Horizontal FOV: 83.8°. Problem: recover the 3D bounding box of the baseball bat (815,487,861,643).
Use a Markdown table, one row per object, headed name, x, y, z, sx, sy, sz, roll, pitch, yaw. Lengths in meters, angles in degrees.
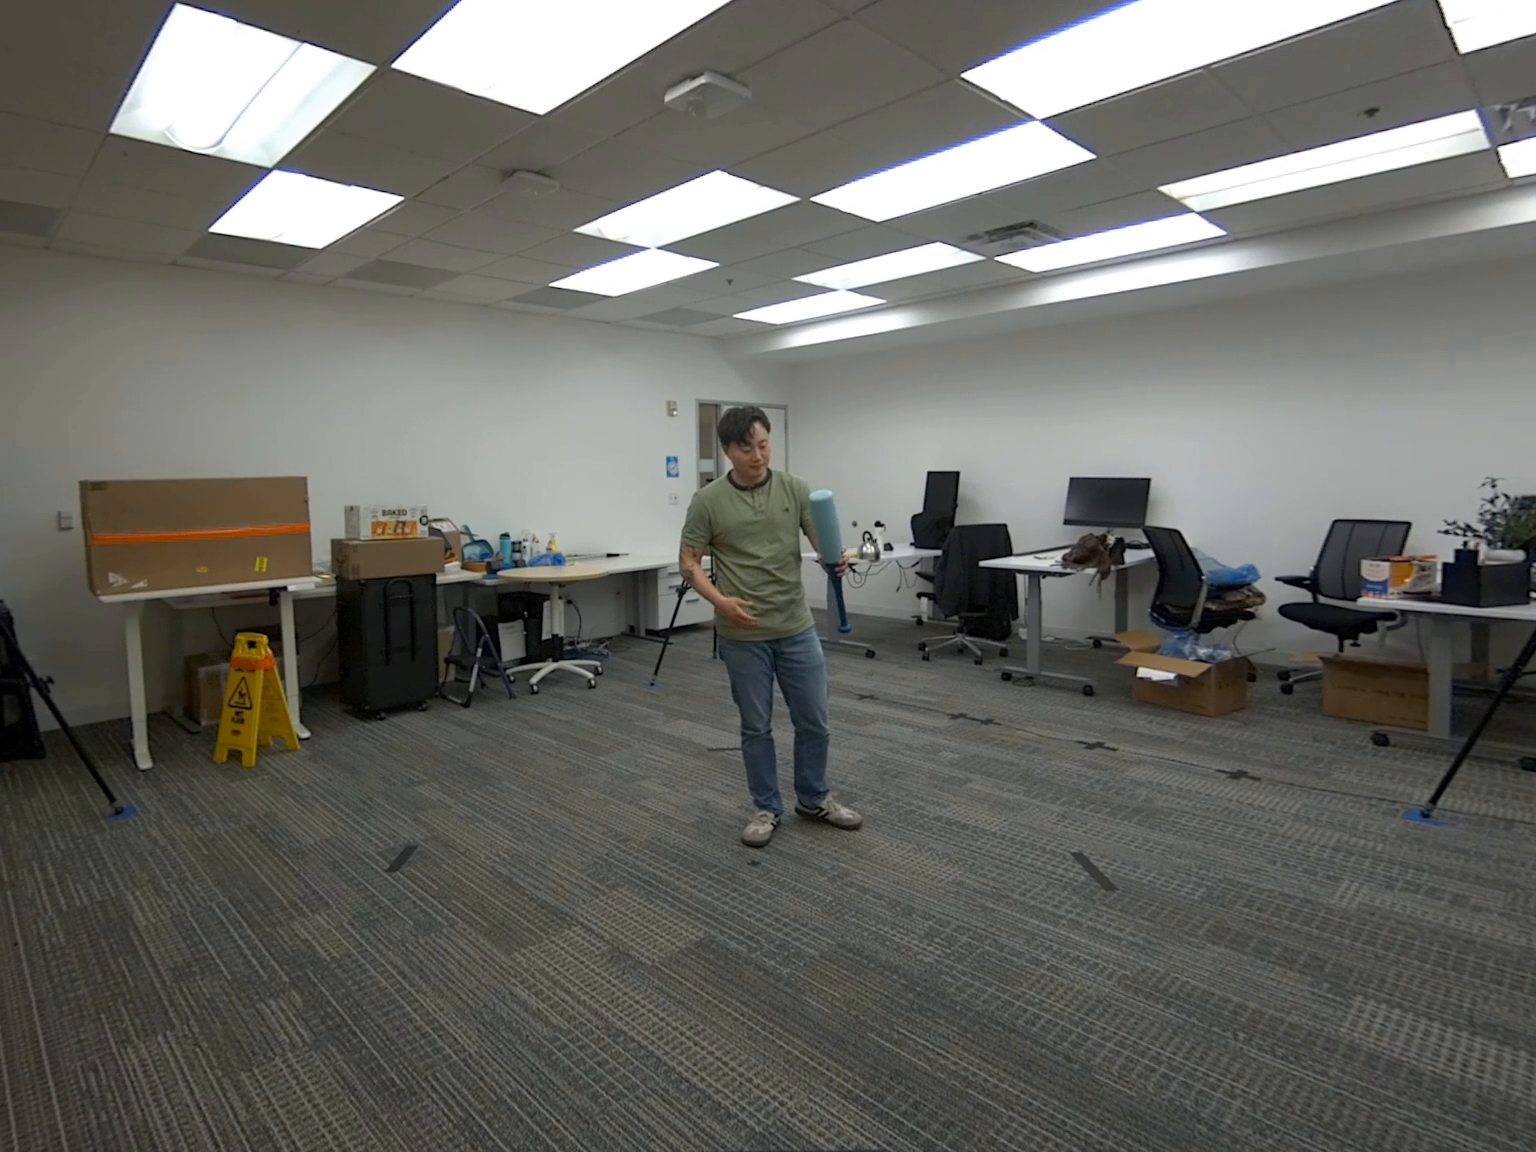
| name | x | y | z | sx | sy | sz | roll | pitch | yaw |
| --- | --- | --- | --- | --- | --- | --- | --- | --- | --- |
| baseball bat | 0.242 | -0.033 | 2.952 | 0.089 | 0.530 | 0.091 | -8 | 24 | 2 |
